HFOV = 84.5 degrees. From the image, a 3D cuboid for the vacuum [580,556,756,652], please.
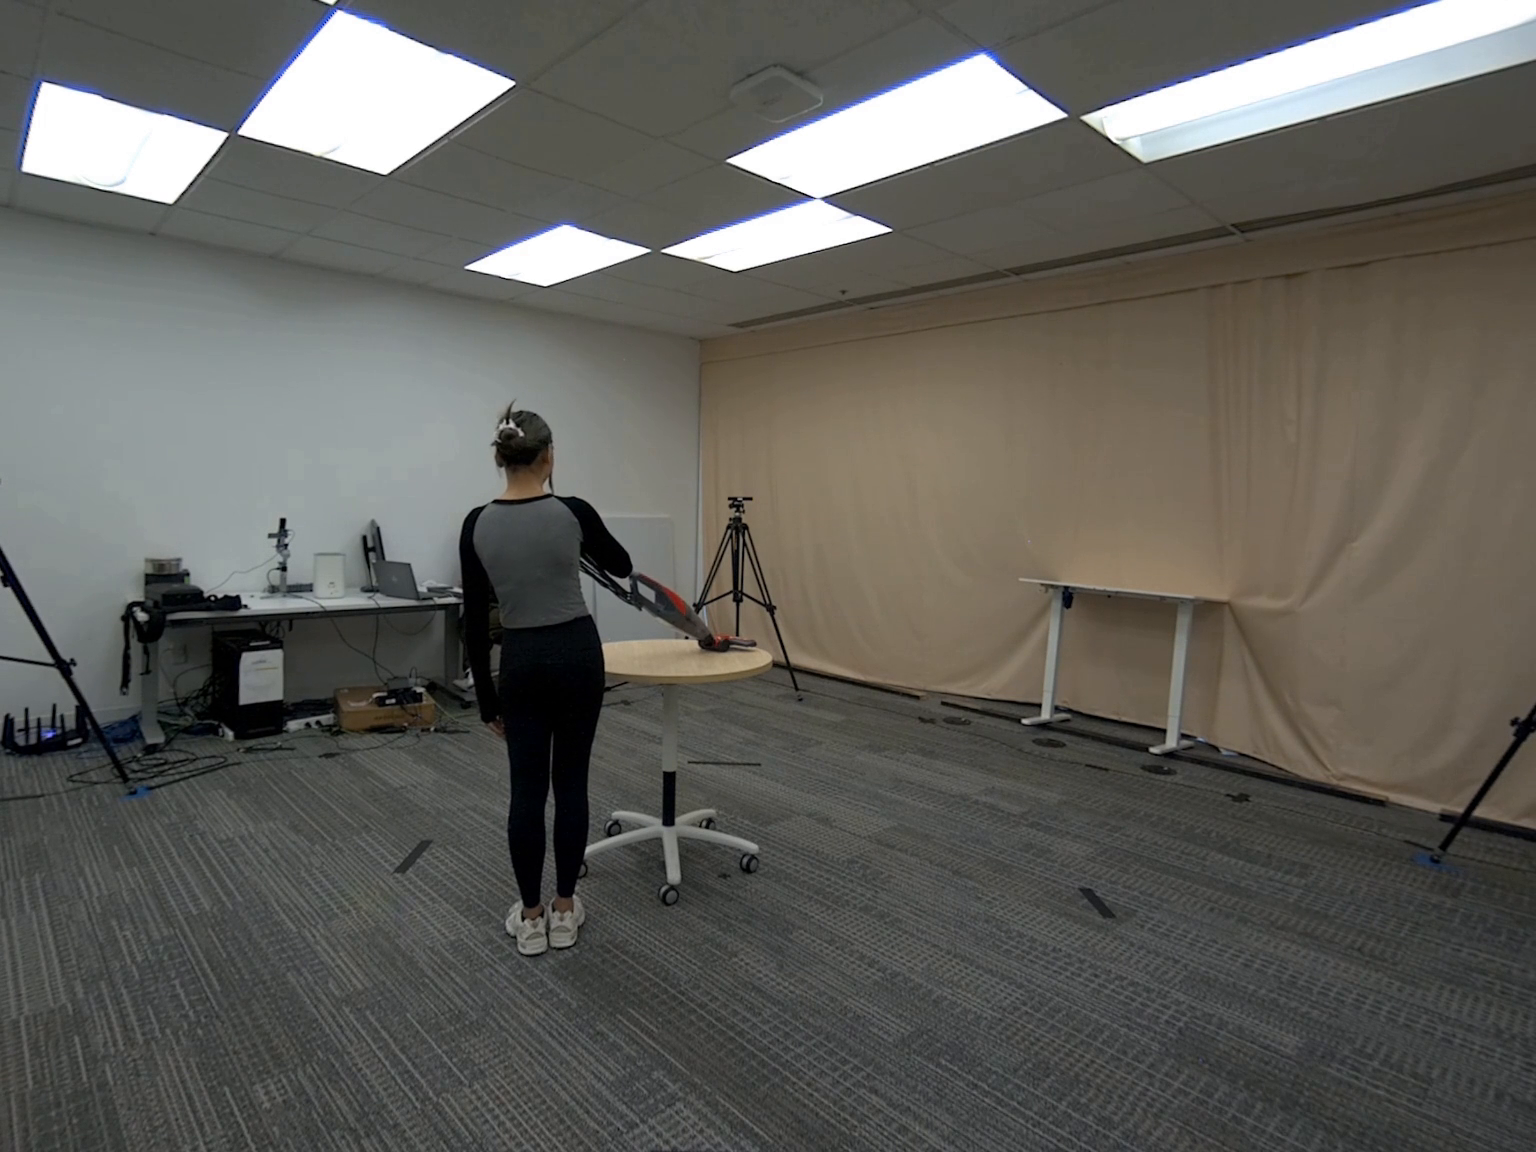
[{"bbox_3d":[-0.482,0.049,3.041,0.259,0.145,1.016,2,-26,42],"label":"vacuum"}]
